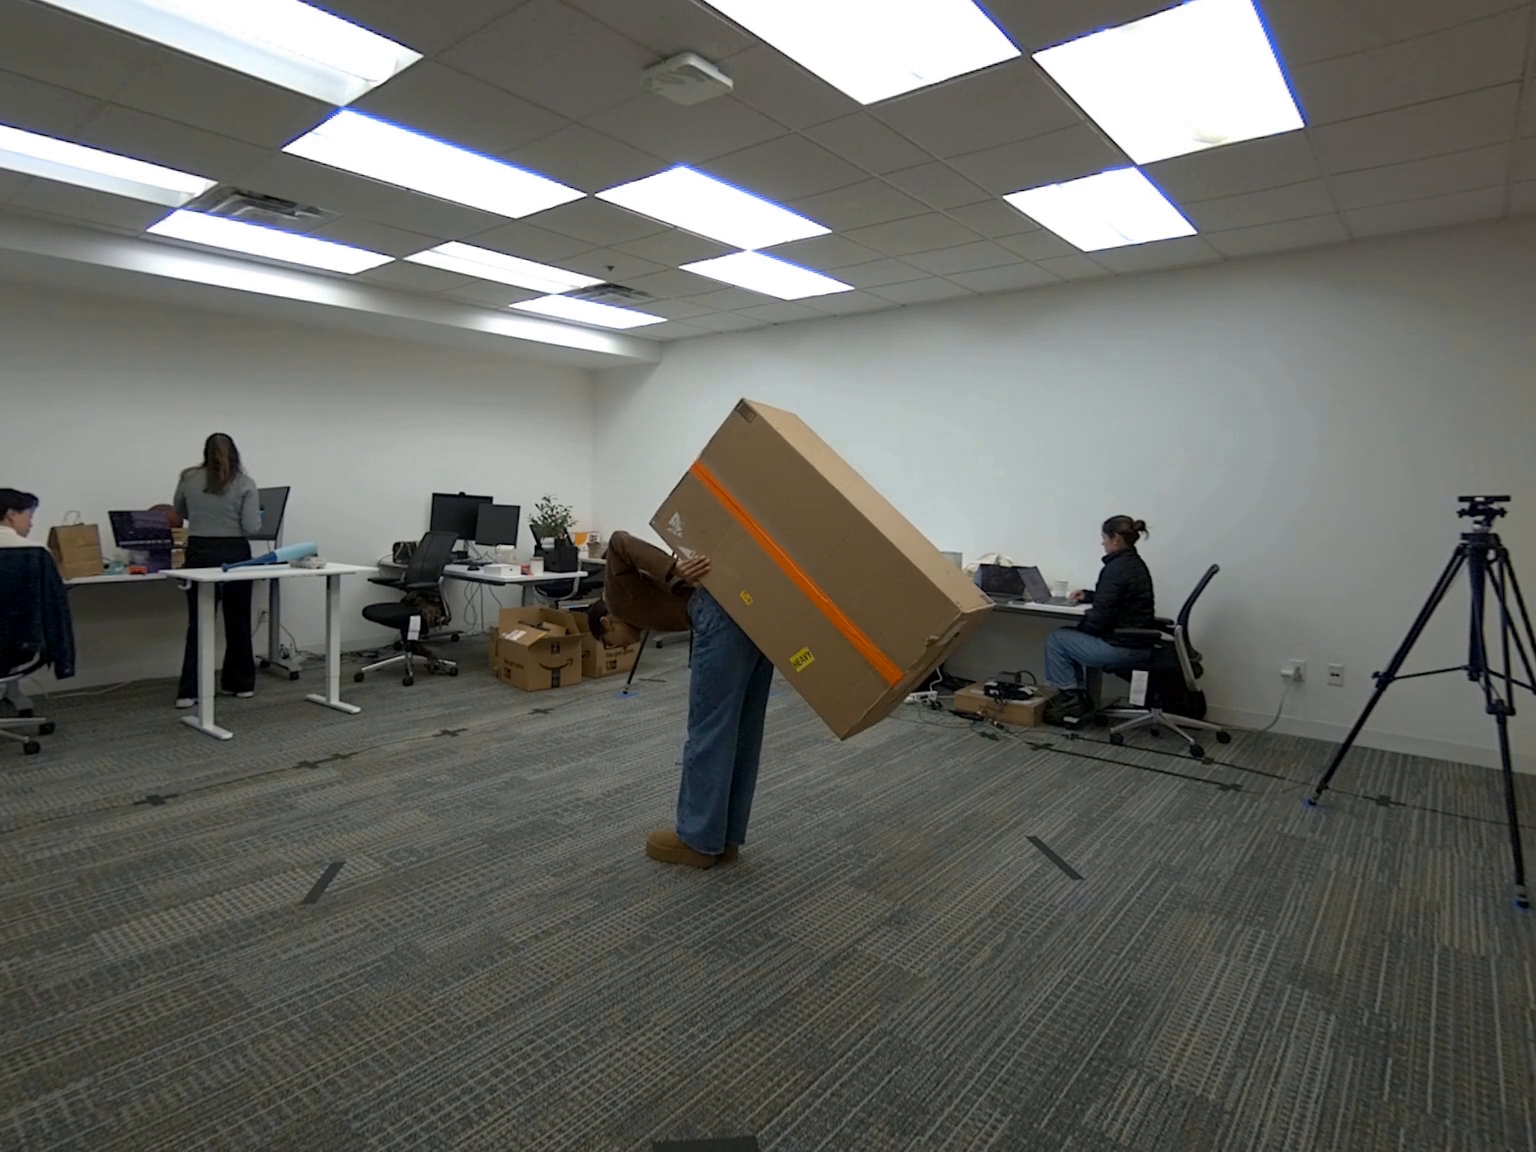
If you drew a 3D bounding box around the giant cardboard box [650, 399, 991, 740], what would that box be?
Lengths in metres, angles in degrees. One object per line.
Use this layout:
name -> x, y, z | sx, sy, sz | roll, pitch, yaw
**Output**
giant cardboard box -> 0.160, -0.042, 2.953 | 1.059, 0.583, 0.434 | 48, 21, 22
